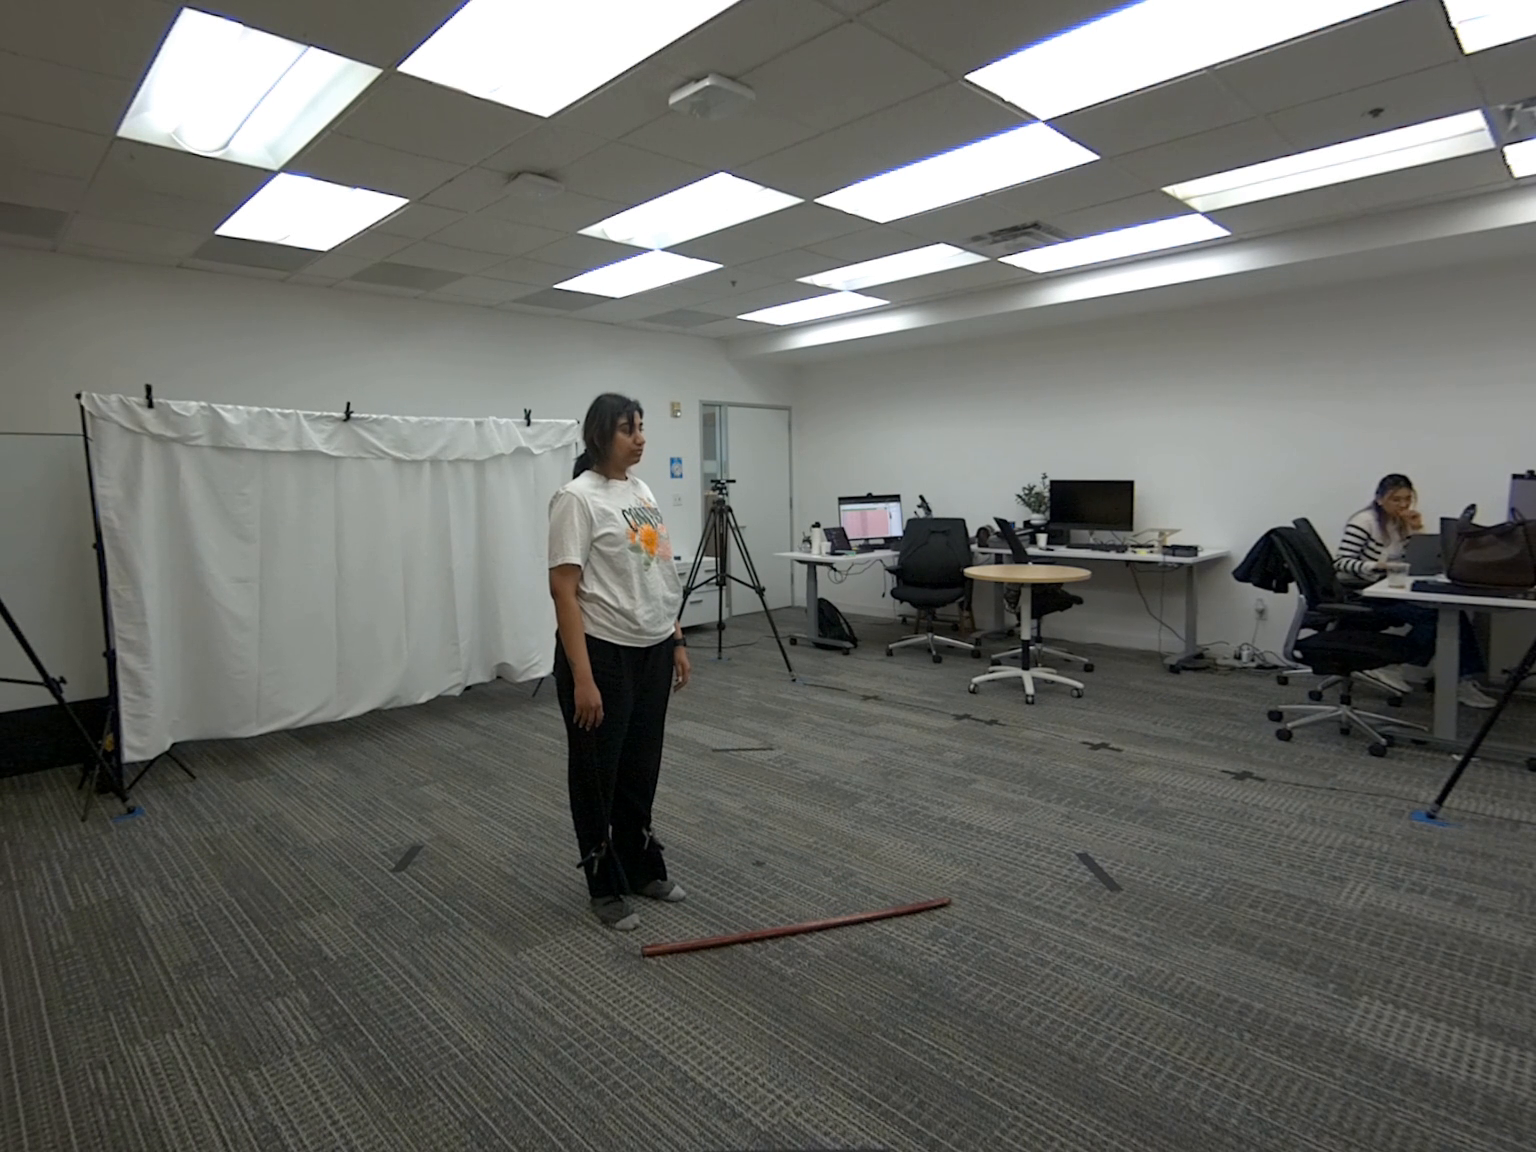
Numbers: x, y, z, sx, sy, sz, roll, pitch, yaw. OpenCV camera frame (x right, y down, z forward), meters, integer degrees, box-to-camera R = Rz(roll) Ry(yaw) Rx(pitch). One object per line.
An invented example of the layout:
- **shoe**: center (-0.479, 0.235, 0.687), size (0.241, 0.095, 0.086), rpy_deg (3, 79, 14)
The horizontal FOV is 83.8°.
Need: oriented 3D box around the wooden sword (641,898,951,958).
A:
- **wooden sword**: center (0.116, 1.072, 2.660), size (1.011, 0.024, 0.052), rpy_deg (-3, 6, -15)
